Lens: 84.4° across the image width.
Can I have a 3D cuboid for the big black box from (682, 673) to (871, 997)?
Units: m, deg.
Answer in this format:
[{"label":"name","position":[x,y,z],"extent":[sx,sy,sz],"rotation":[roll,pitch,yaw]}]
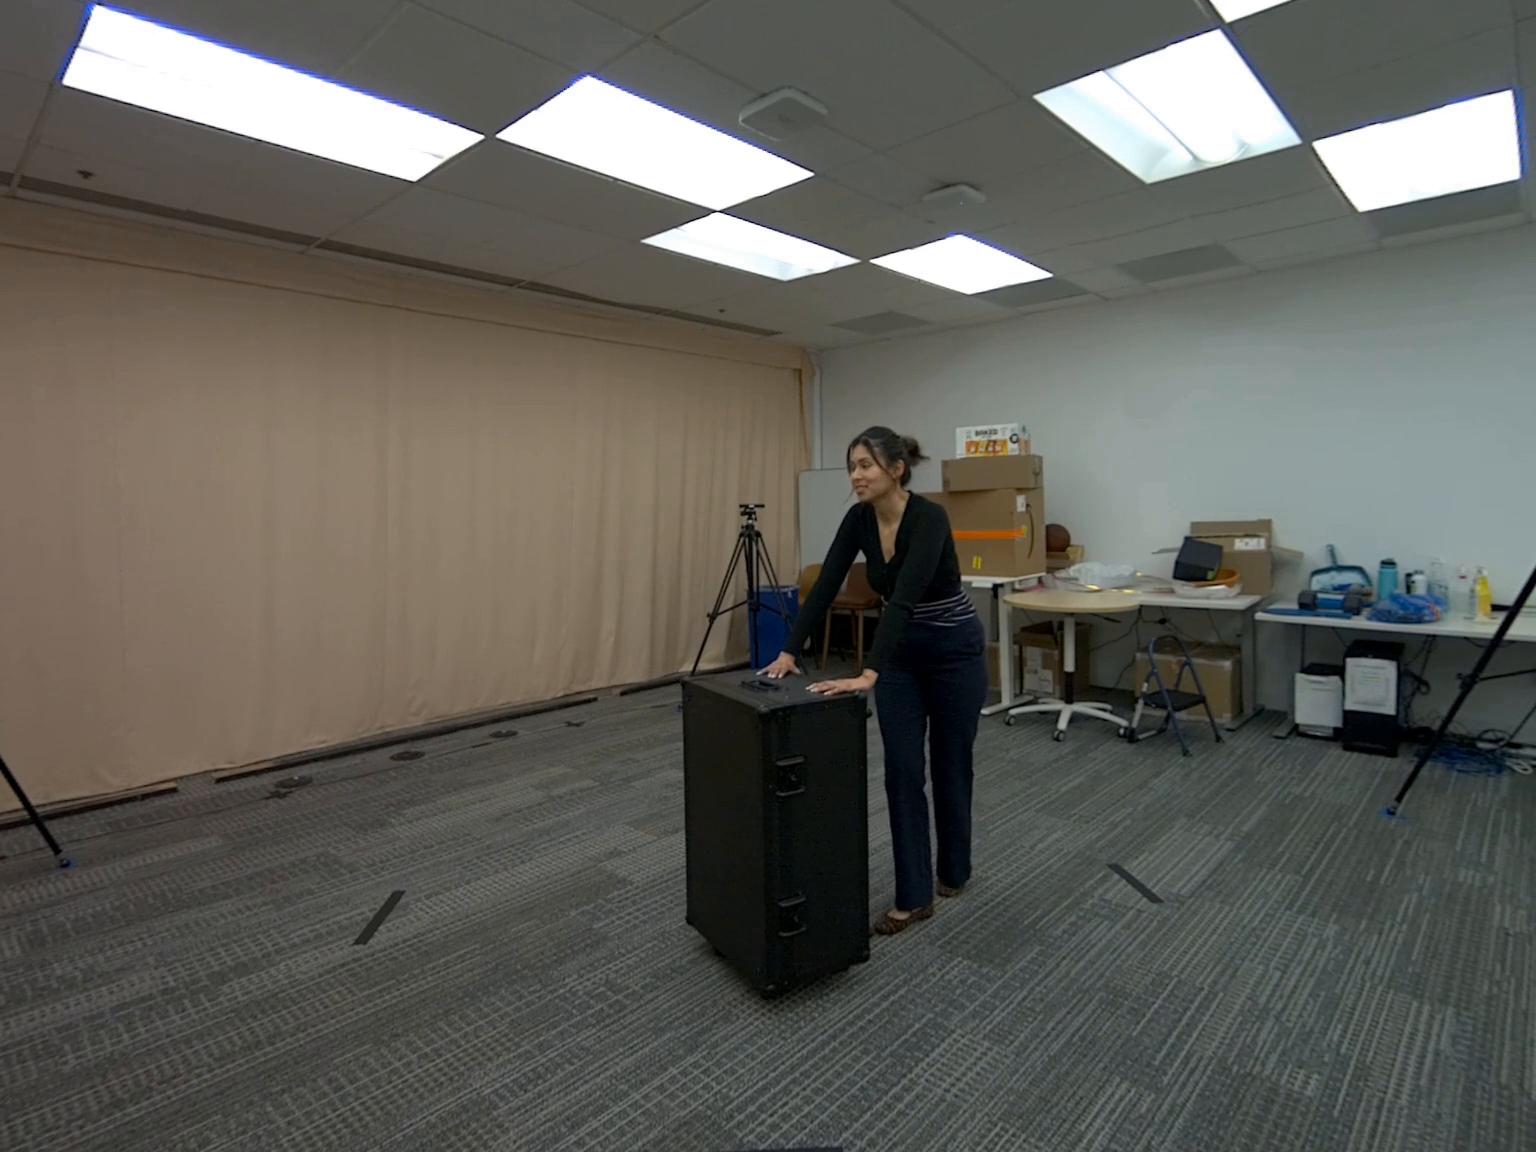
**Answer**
[{"label":"big black box","position":[0.020,0.751,2.545],"extent":[0.385,0.860,0.537],"rotation":[-2,4,-31]}]
